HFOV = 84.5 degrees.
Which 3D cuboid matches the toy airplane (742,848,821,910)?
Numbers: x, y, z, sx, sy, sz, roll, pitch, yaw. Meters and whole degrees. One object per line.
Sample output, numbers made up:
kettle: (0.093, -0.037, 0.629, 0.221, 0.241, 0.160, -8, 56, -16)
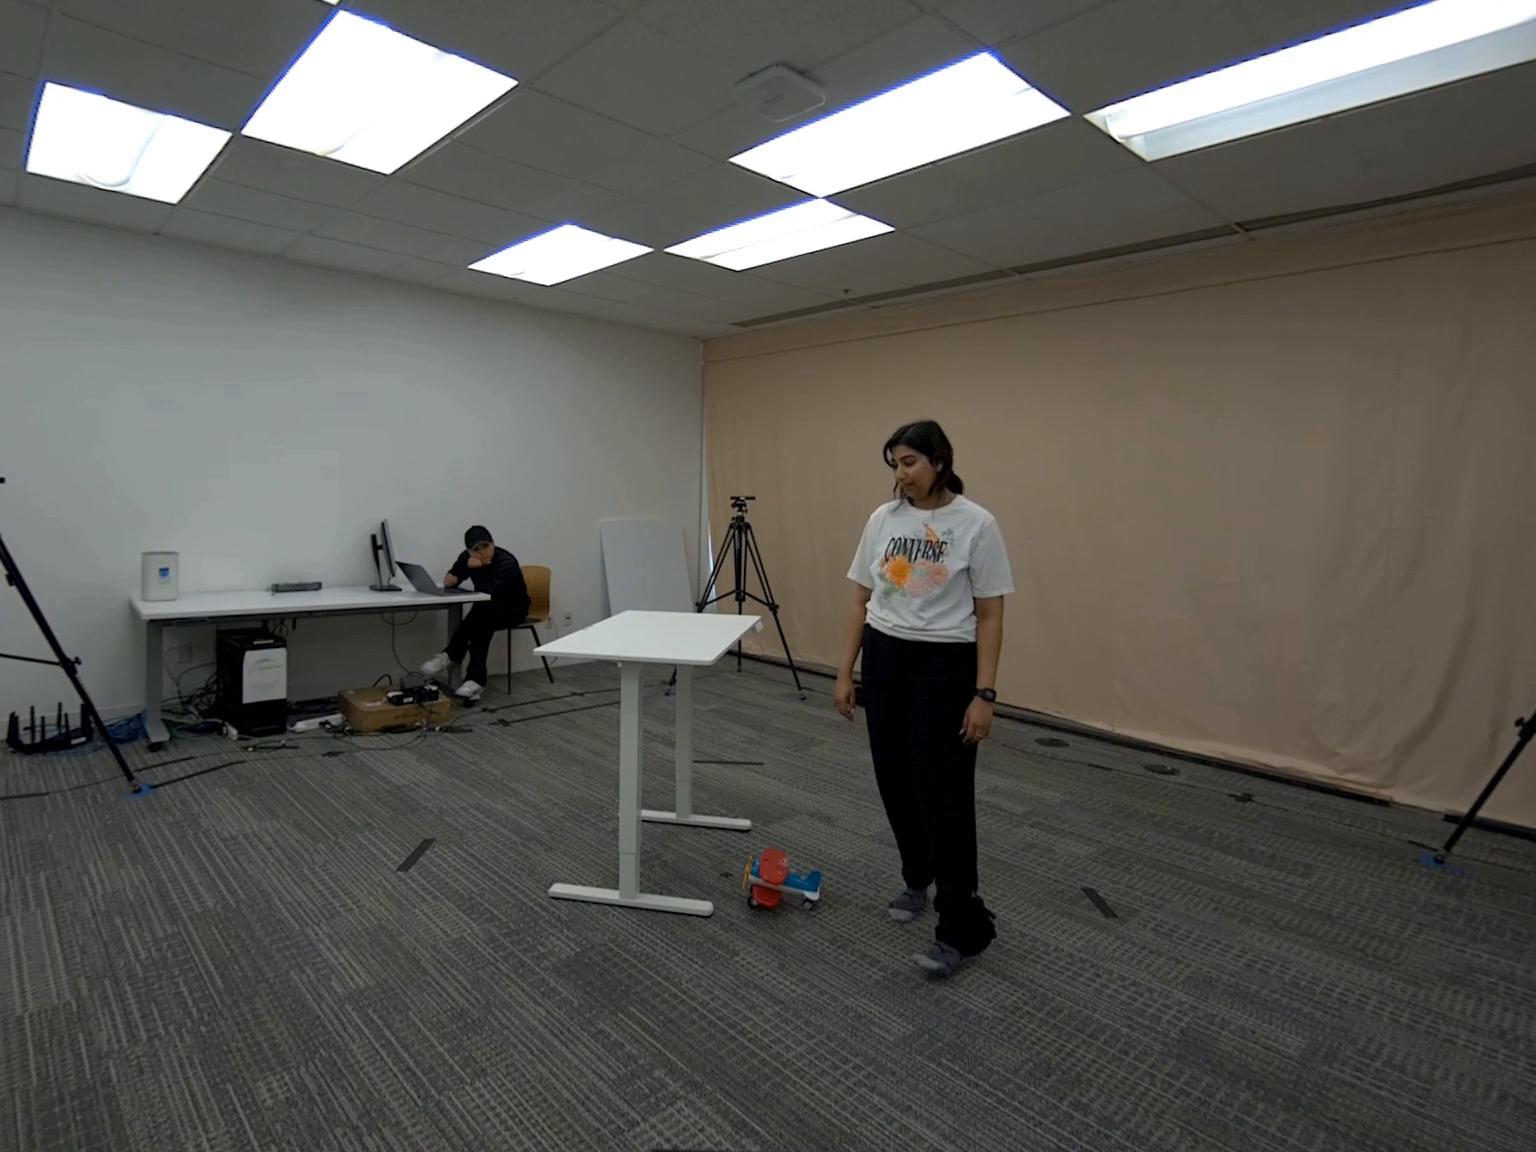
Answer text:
toy airplane: (0.040, 1.050, 2.907, 0.255, 0.156, 0.256, -2, 6, -25)
